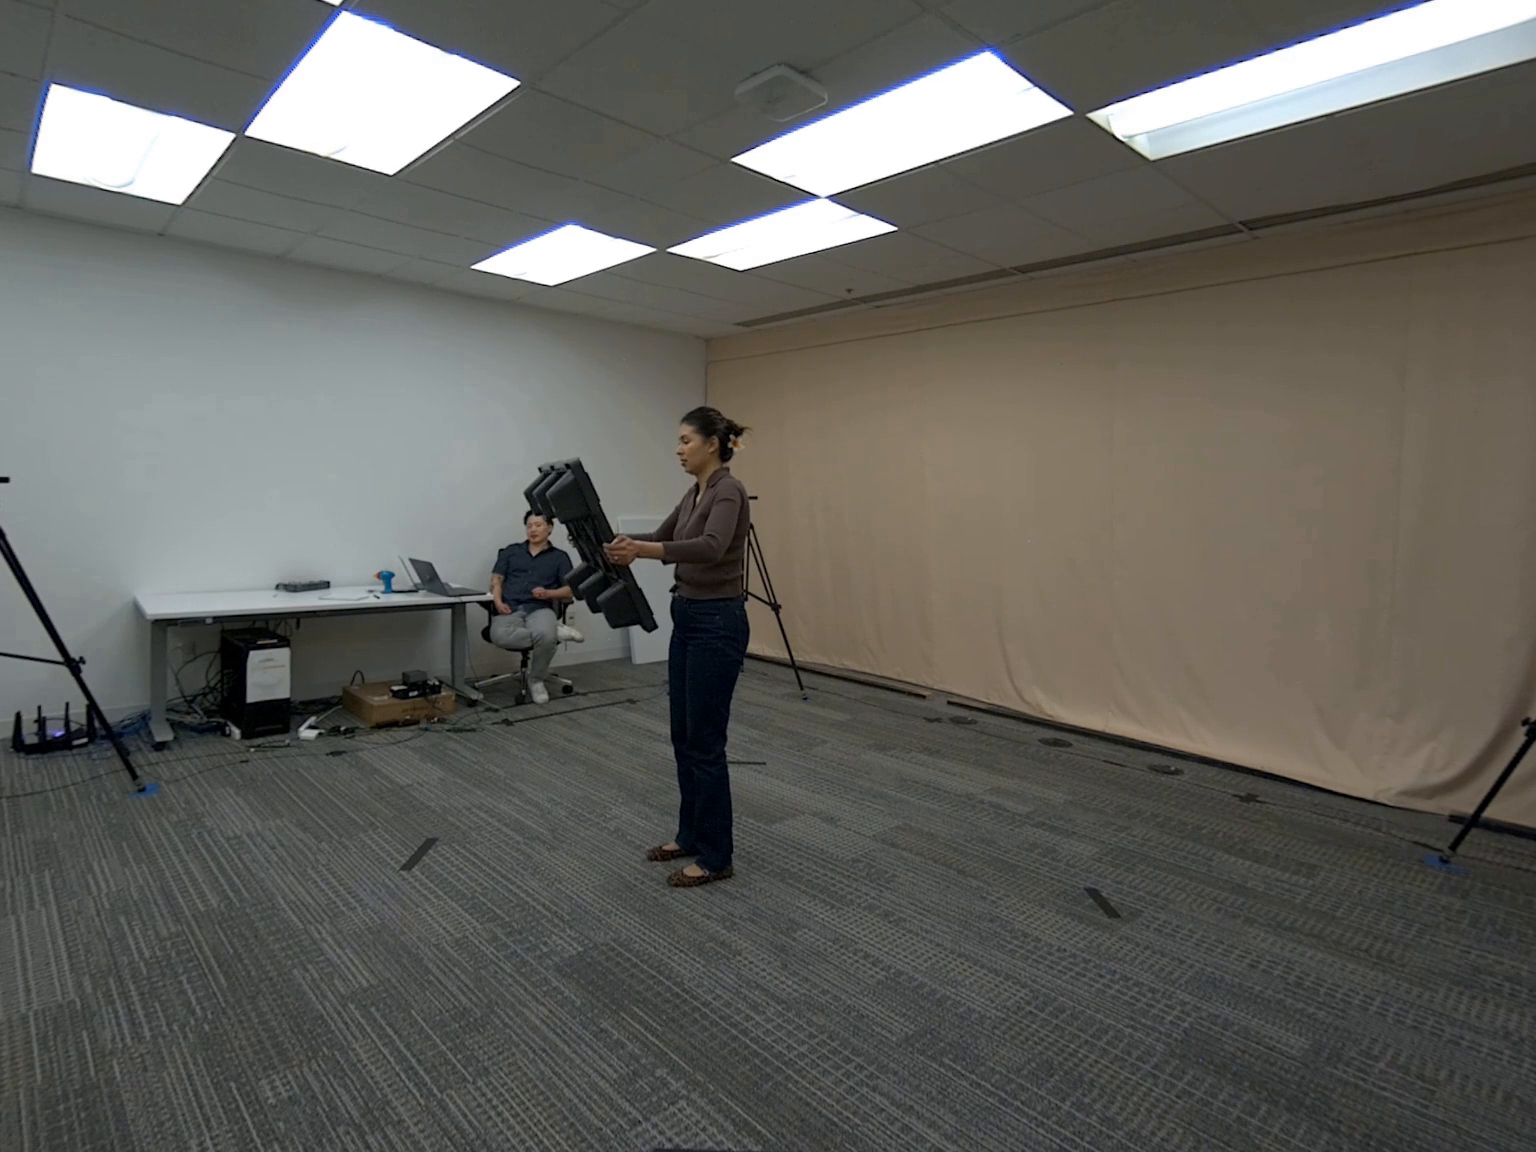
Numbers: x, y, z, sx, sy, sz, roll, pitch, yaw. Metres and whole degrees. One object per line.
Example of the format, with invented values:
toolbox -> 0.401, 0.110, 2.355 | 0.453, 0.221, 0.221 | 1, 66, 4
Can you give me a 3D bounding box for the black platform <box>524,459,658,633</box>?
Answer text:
black platform -> -0.666, -0.105, 2.978 | 0.142, 0.598, 0.820 | -26, 13, -17
